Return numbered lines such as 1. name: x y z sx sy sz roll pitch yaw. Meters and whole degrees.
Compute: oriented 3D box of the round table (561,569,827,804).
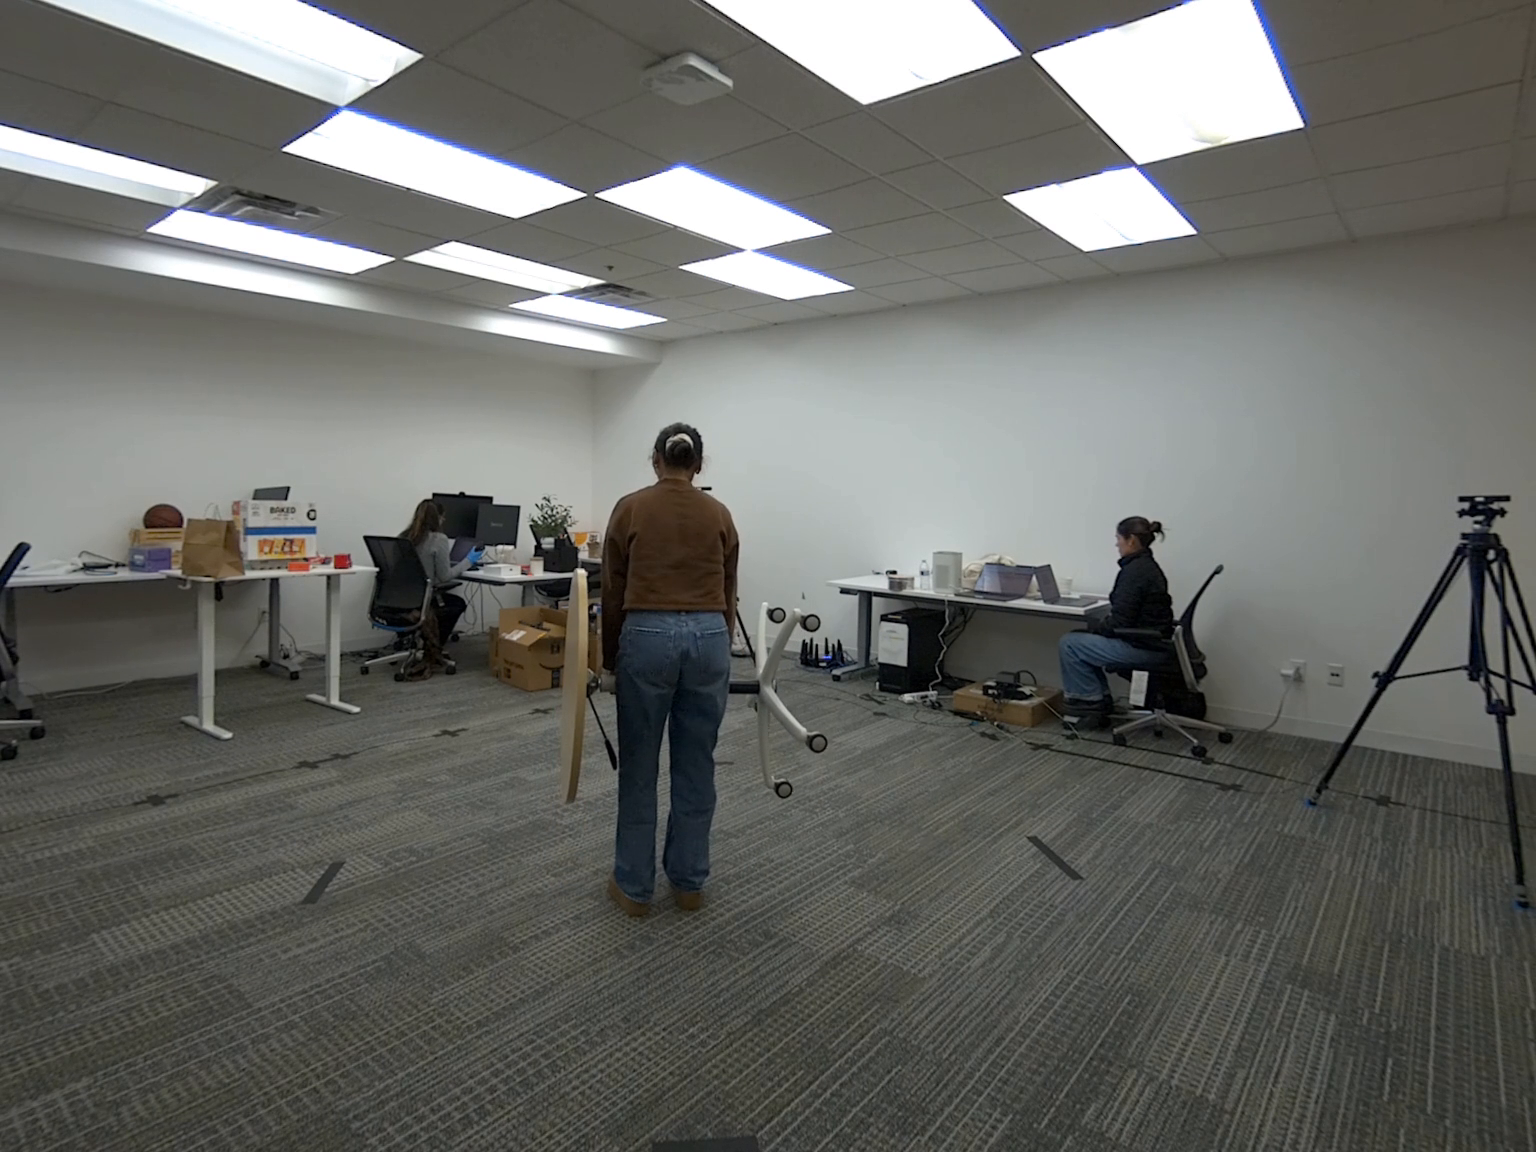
1. round table: -0.288 0.383 2.926 0.781 0.762 0.778 4 3 -15
